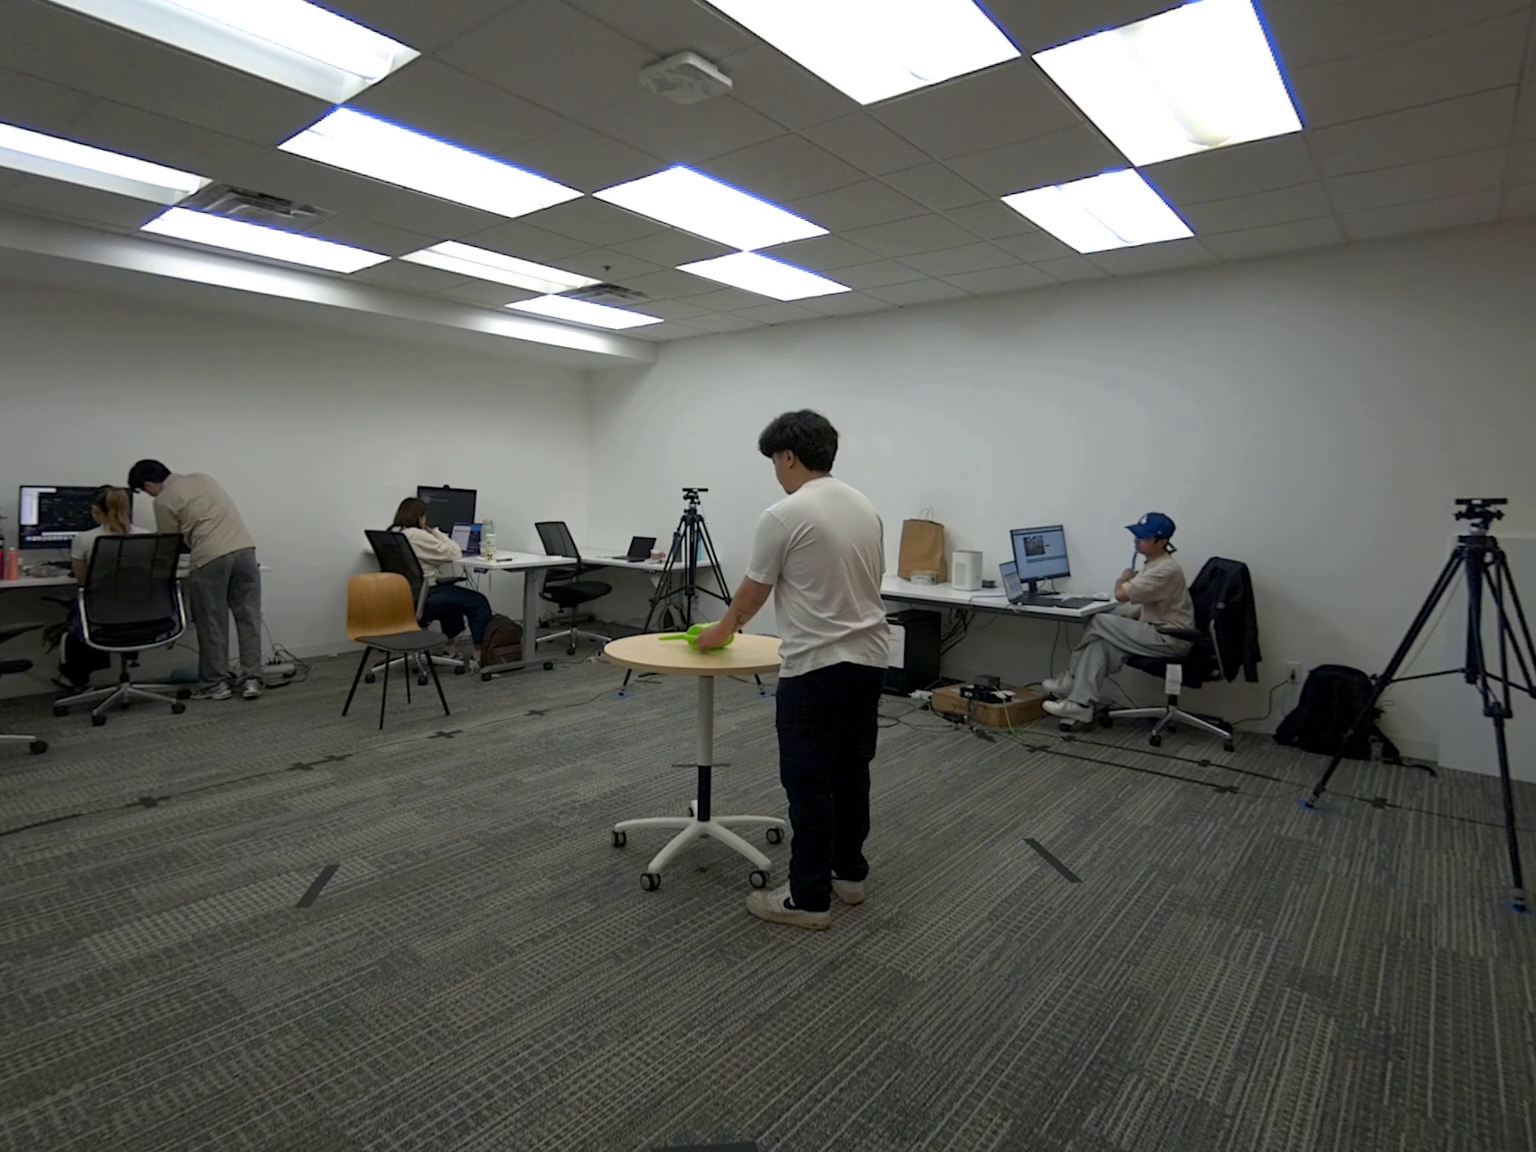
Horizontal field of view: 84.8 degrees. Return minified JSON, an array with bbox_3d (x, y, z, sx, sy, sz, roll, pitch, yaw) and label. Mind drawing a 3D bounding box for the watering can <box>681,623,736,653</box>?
[{"bbox_3d":[-0.273,0.214,3.206,0.289,0.097,0.171,12,11,43],"label":"watering can"}]
